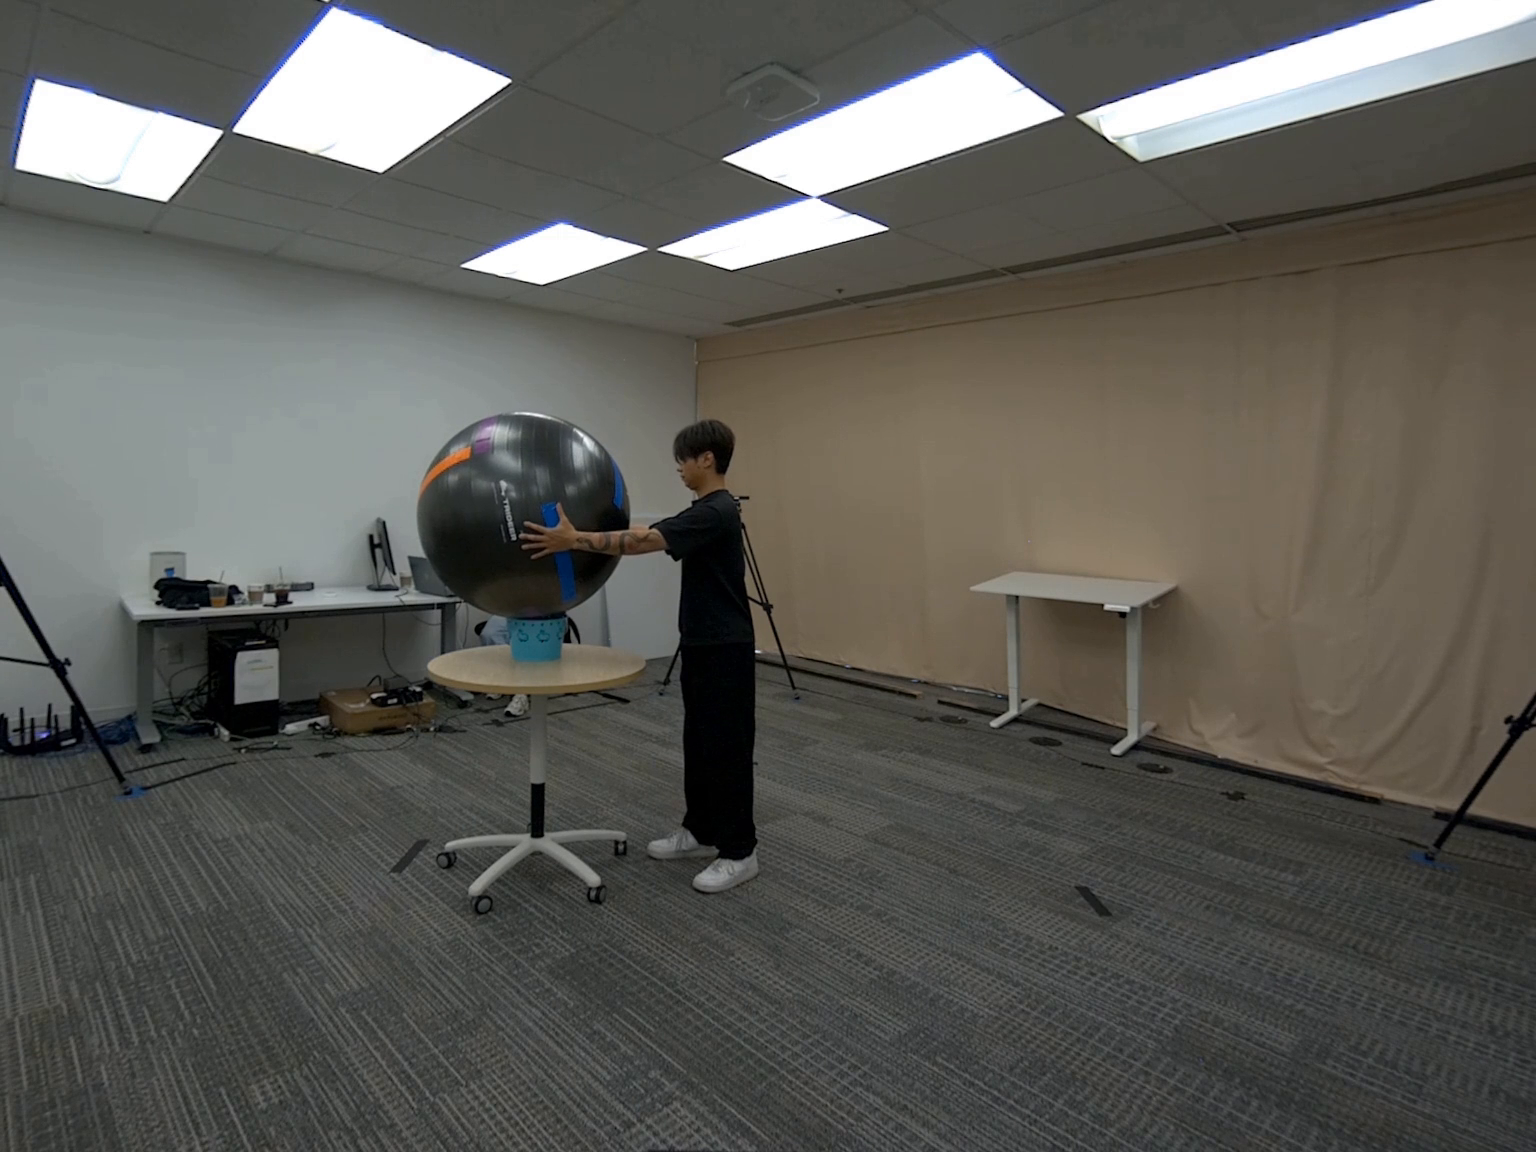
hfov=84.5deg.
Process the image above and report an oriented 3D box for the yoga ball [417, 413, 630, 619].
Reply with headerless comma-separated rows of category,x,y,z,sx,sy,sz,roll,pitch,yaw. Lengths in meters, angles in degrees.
yoga ball,-0.903,-0.217,3.101,0.757,0.756,0.761,1,4,-1
